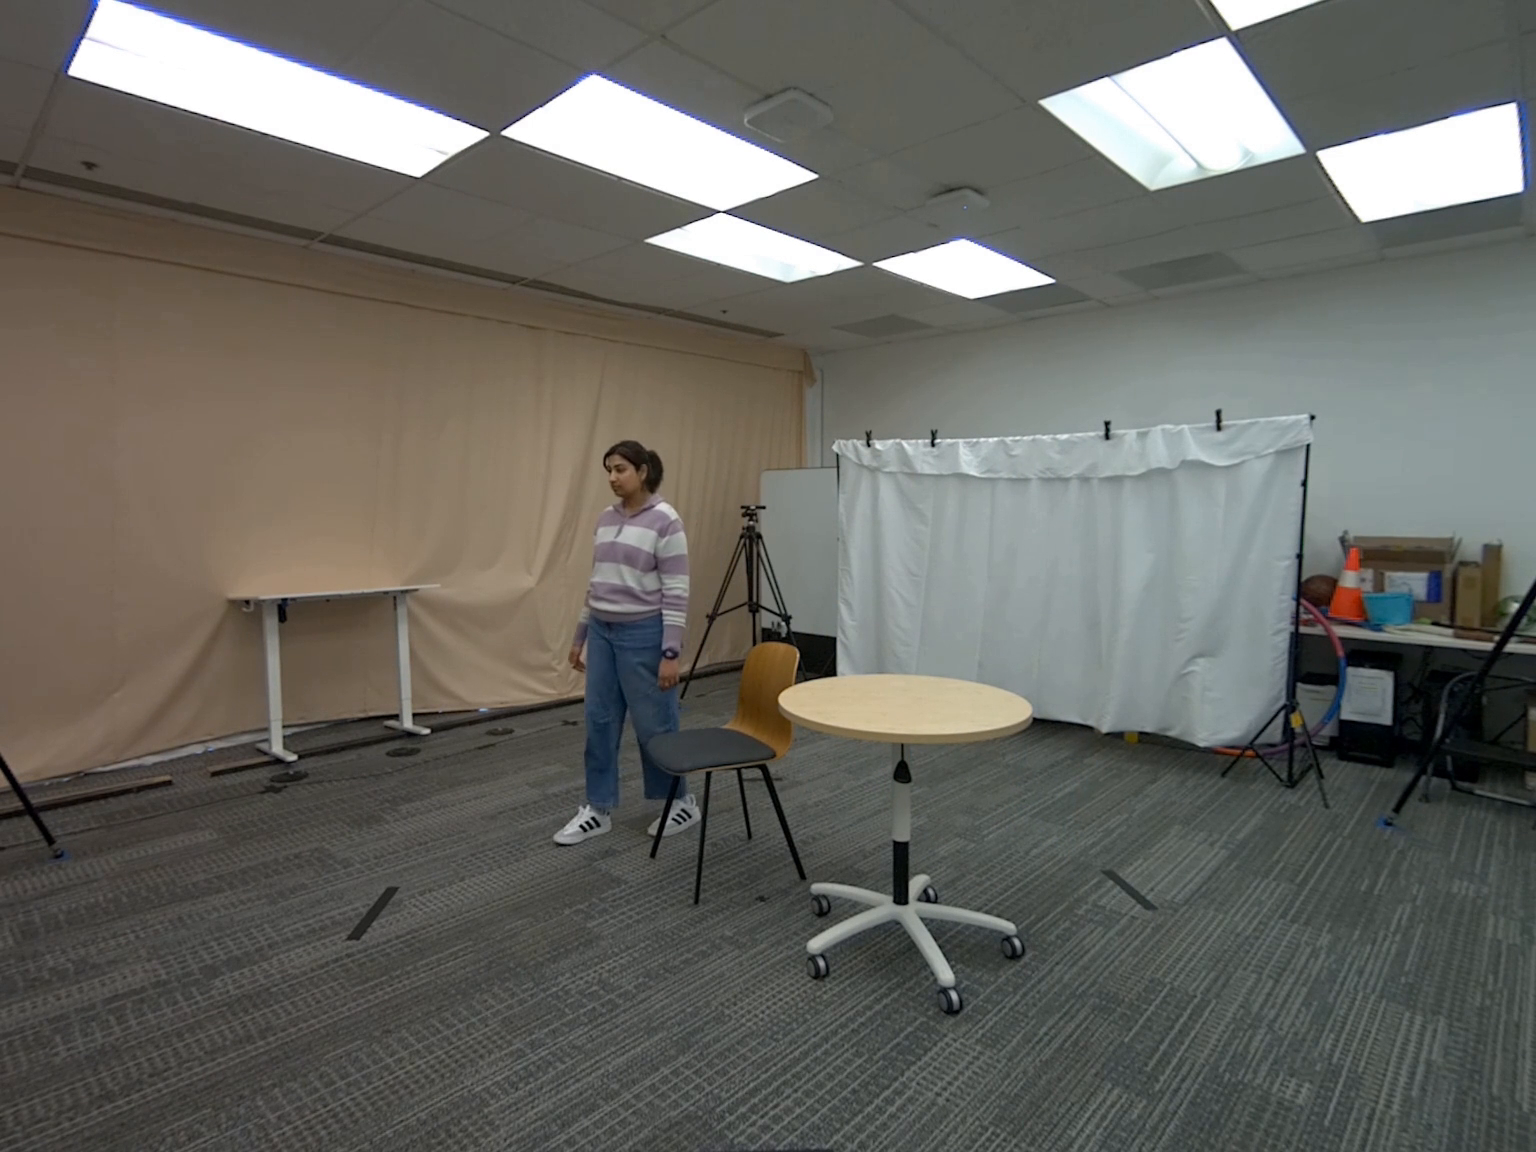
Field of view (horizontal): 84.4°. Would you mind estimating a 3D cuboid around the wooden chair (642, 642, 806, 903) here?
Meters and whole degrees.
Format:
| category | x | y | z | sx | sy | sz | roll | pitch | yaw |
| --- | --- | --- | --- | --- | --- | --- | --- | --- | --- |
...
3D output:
| category | x | y | z | sx | sy | sz | roll | pitch | yaw |
| --- | --- | --- | --- | --- | --- | --- | --- | --- | --- |
| wooden chair | -0.169 | 0.698 | 3.199 | 0.509 | 0.876 | 0.491 | 3 | 2 | -27 |
